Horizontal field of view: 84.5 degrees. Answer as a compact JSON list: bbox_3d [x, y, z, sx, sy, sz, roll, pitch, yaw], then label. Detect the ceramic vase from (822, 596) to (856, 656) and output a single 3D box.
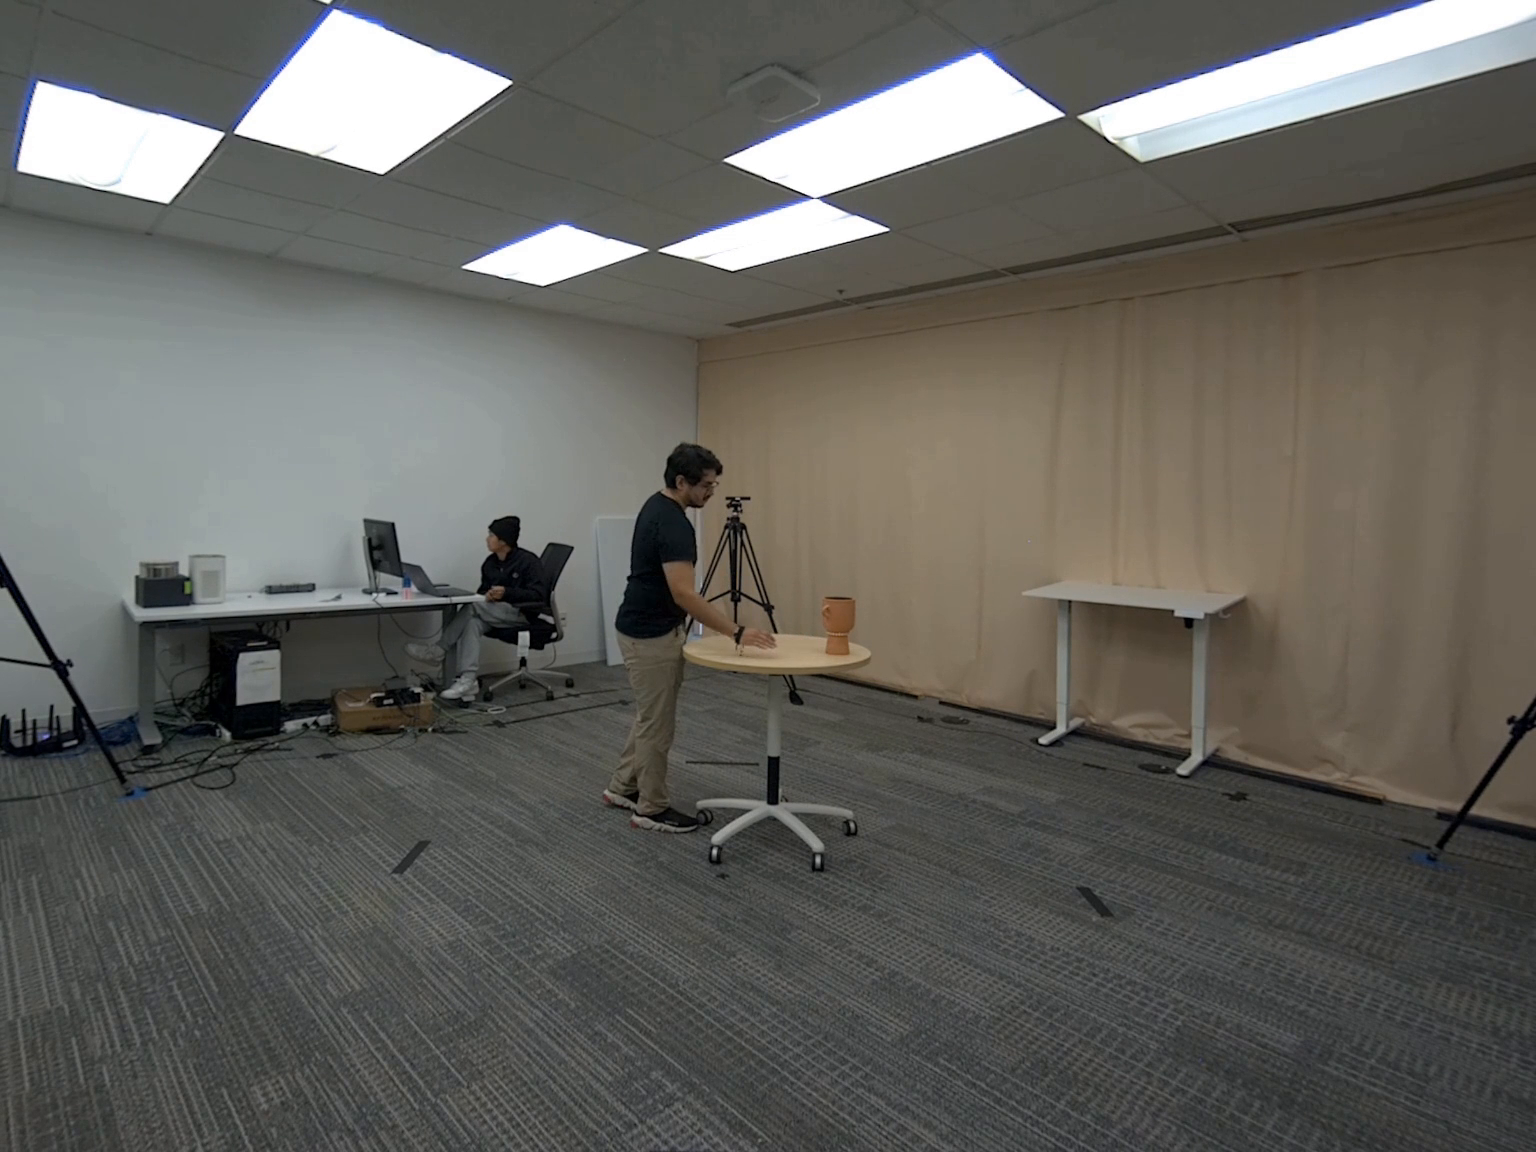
[{"bbox_3d":[0.274,0.202,3.374,0.158,0.219,0.135,2,2,-5],"label":"ceramic vase"}]
